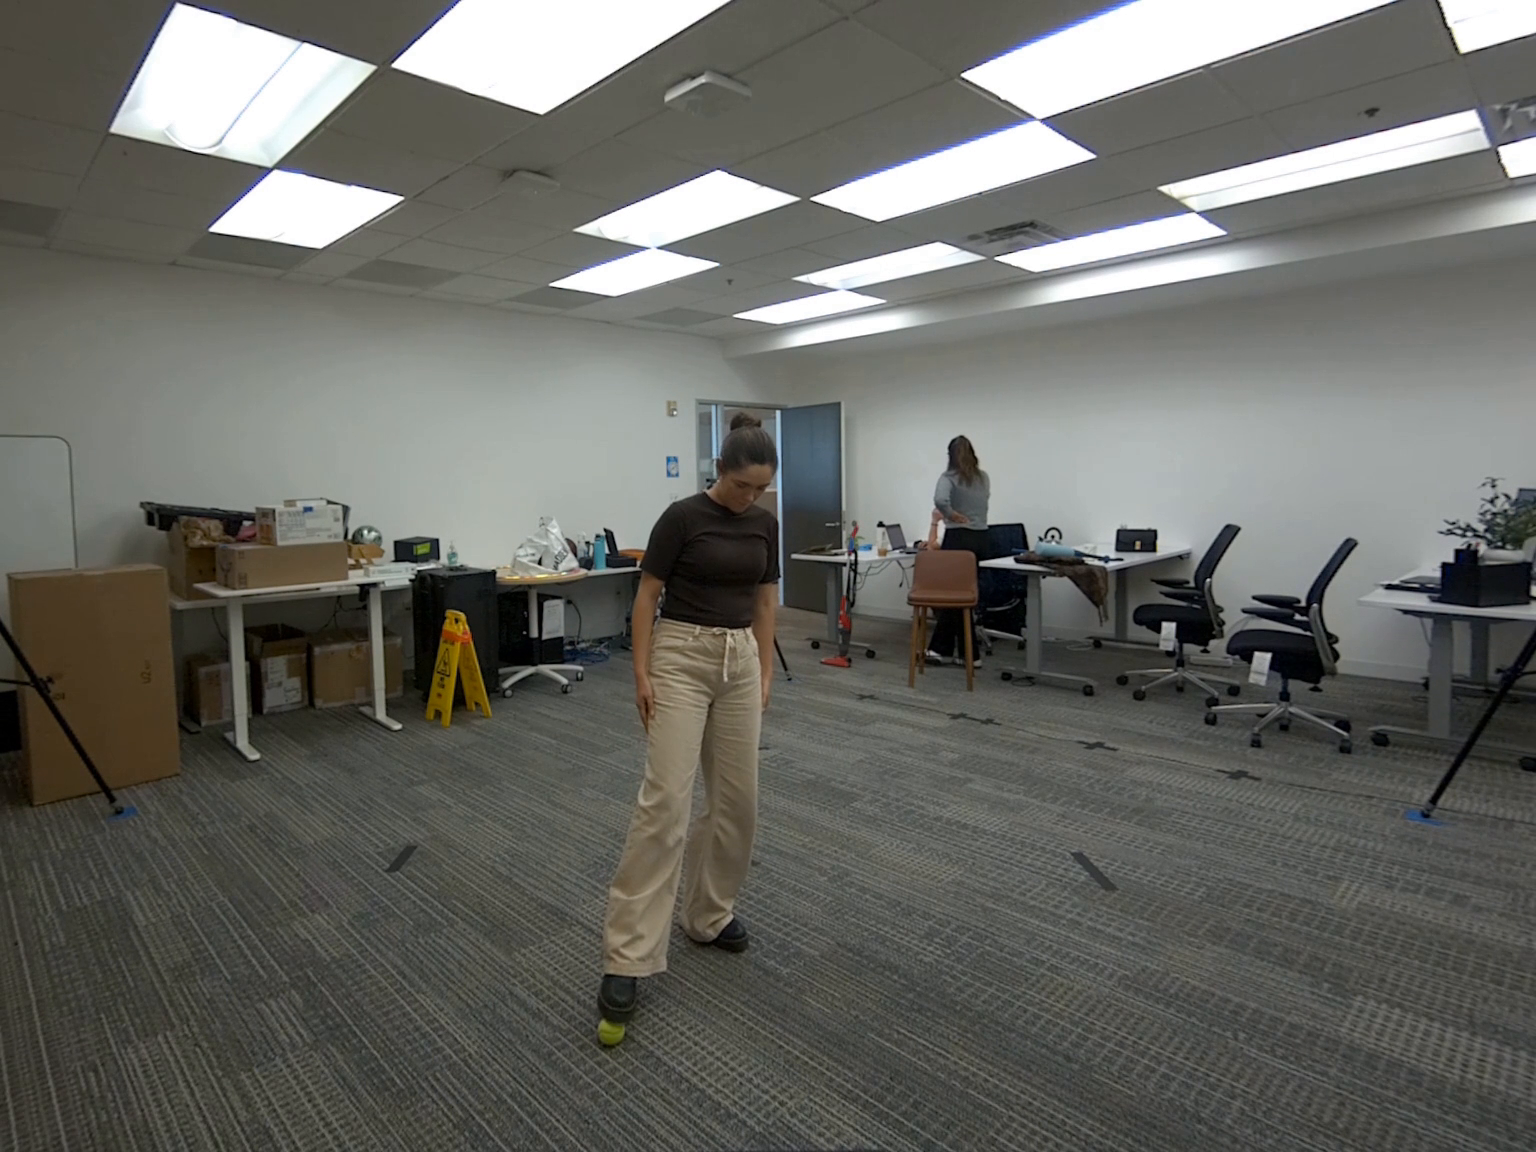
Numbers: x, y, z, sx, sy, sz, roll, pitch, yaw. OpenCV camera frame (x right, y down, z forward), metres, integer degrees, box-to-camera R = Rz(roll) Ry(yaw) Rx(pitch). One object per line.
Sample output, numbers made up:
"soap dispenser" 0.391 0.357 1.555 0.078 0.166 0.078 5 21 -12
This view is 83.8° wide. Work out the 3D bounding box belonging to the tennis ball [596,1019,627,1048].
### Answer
"tennis ball" -0.387 1.138 2.138 0.066 0.066 0.067 -1 5 -2
